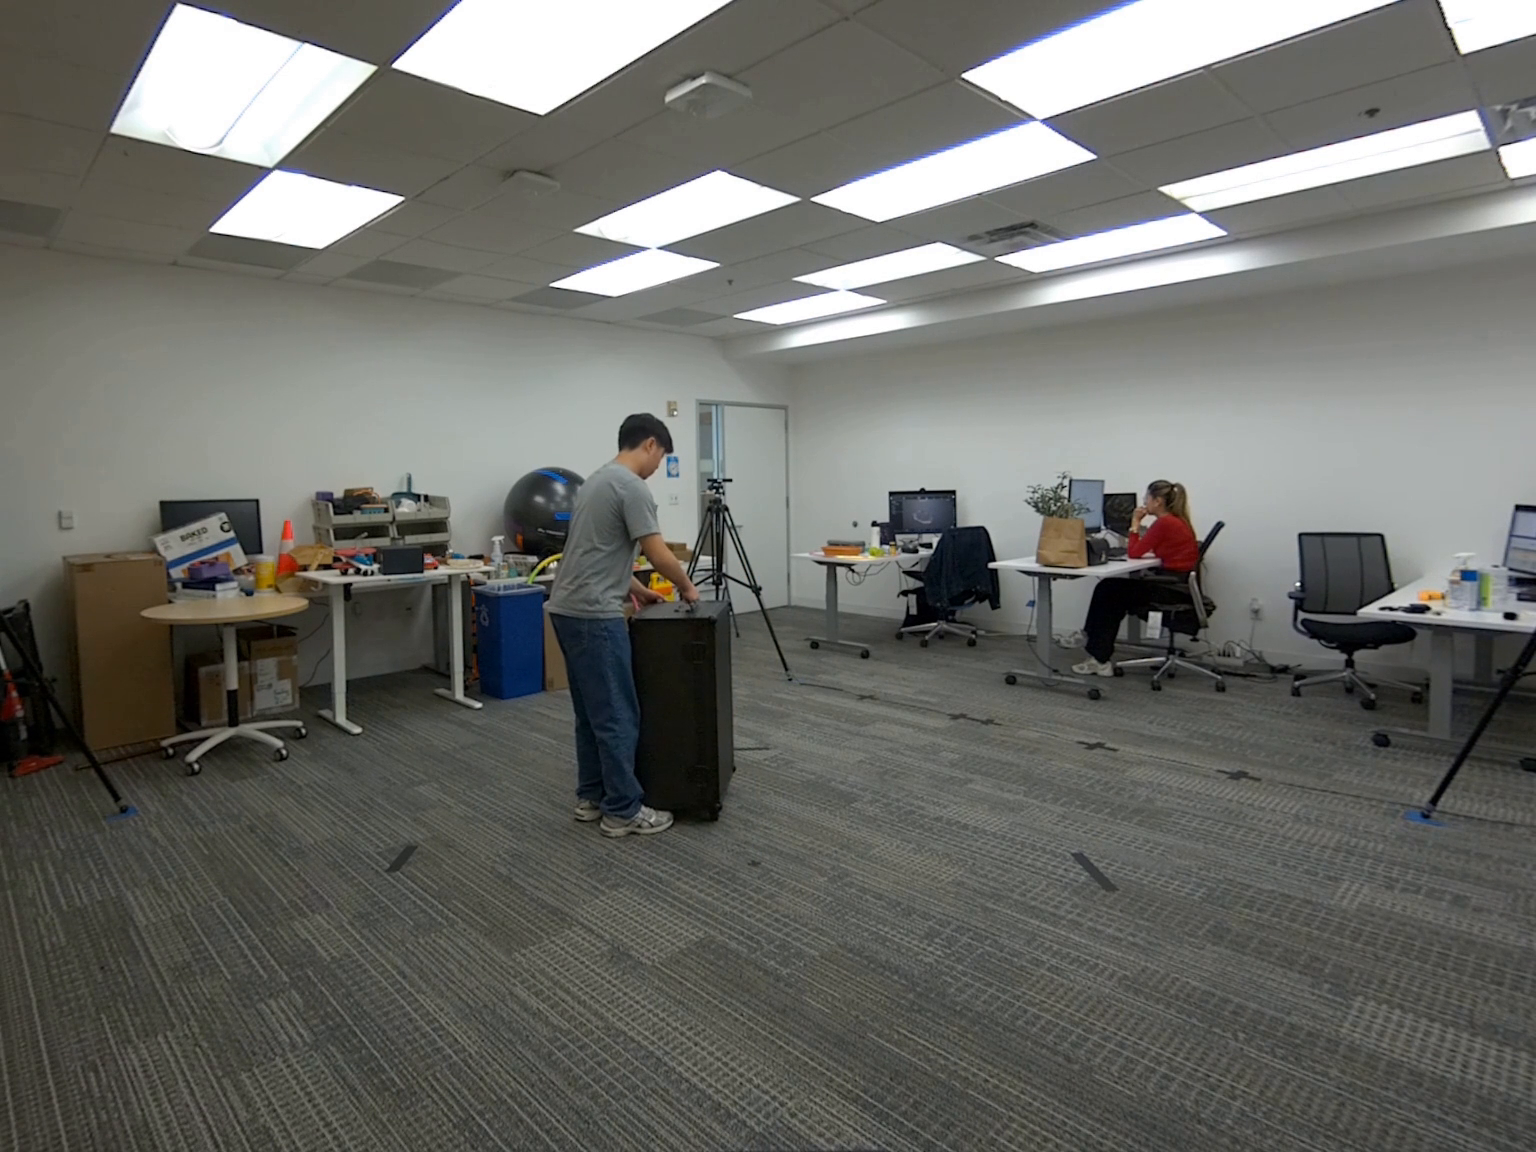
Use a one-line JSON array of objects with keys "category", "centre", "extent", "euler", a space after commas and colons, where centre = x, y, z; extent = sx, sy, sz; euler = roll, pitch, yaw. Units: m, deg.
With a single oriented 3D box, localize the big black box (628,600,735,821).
[{"category": "big black box", "centre": [-0.361, 0.562, 3.663], "extent": [0.399, 0.858, 0.520], "euler": [-1, 5, 6]}]
